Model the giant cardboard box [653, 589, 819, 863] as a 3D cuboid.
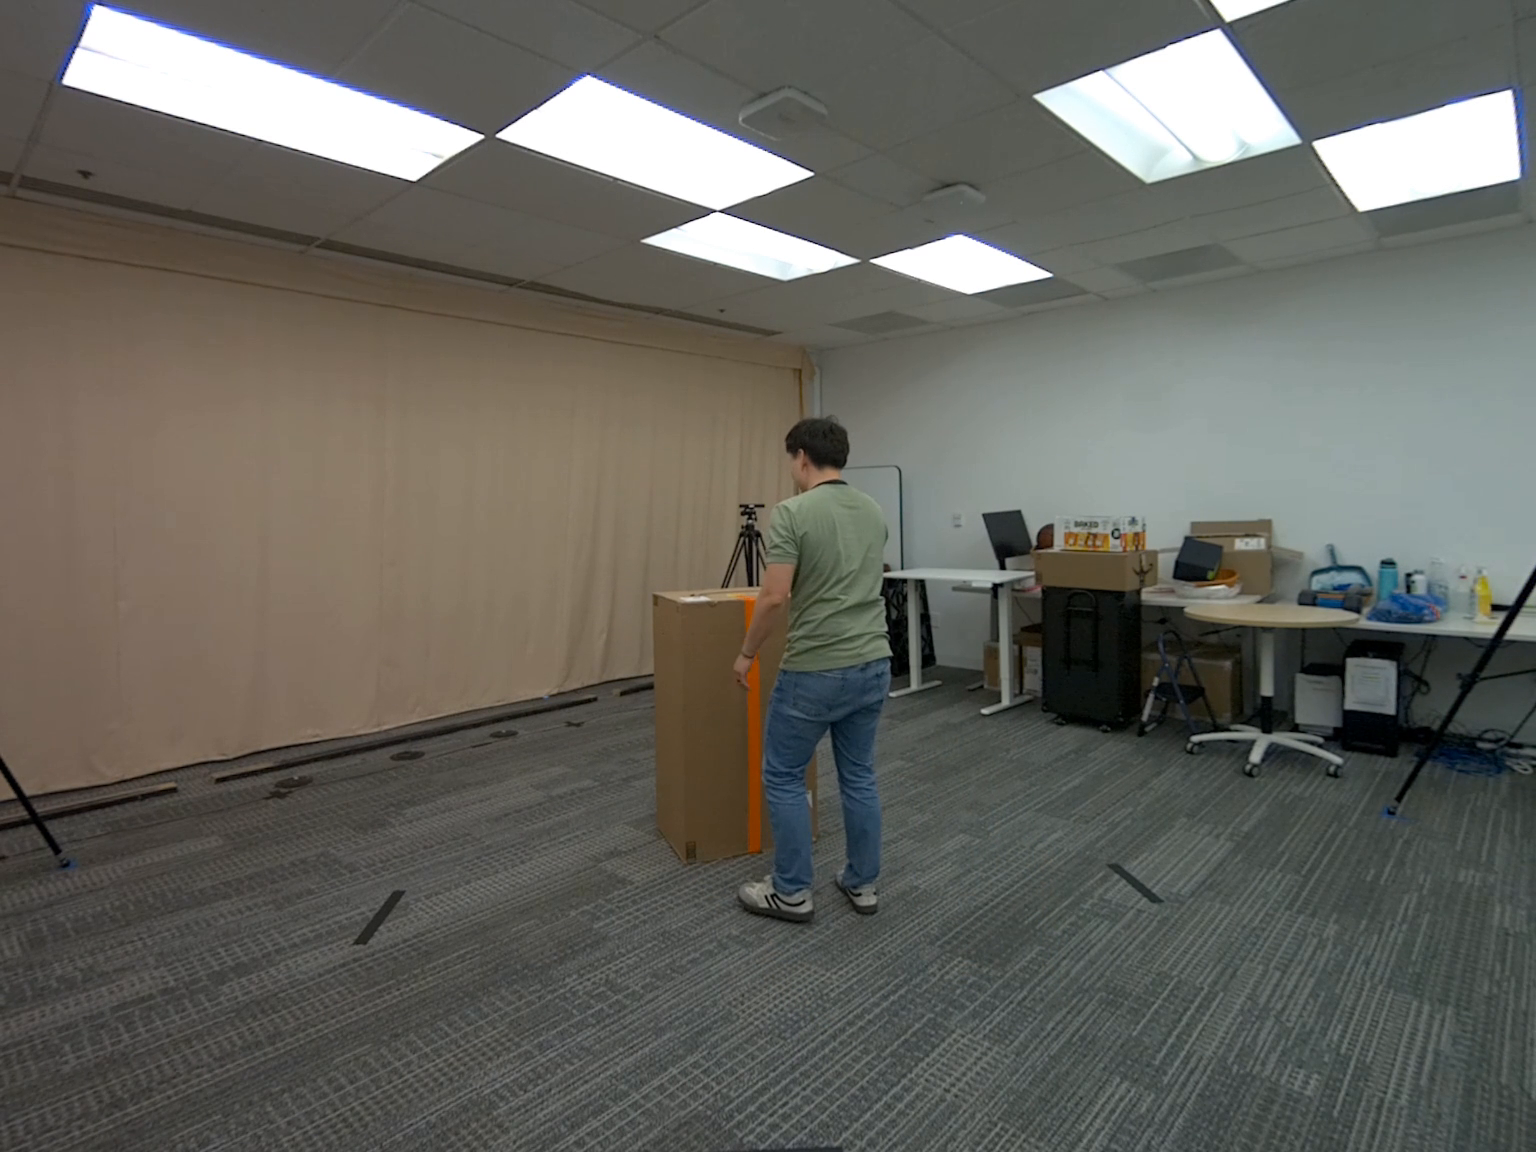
[{"bbox_3d":[-0.150,0.585,3.535,0.565,1.024,0.436,-2,3,-22],"label":"giant cardboard box"}]
